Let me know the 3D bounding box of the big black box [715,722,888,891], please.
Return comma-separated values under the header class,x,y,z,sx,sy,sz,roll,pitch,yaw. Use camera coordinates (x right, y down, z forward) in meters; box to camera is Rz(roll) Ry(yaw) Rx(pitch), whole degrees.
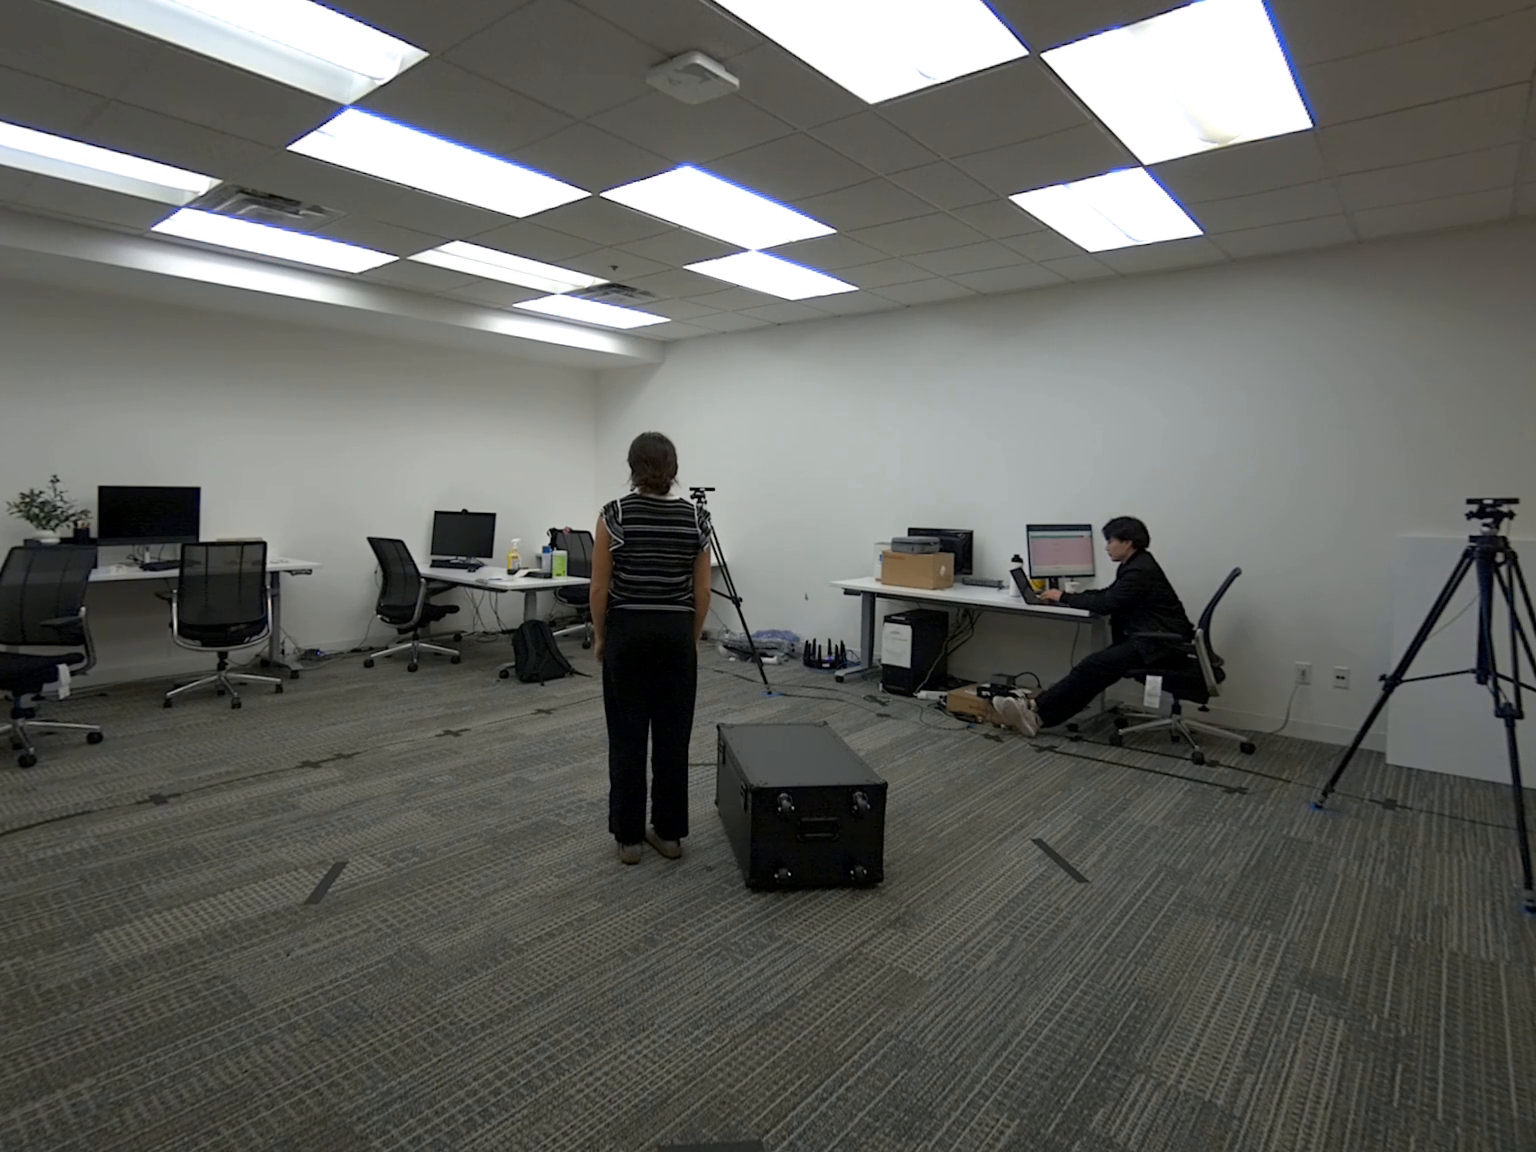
class,x,y,z,sx,sy,sz,roll,pitch,yaw
big black box,0.089,0.862,3.285,0.515,0.395,0.875,0,5,-12
